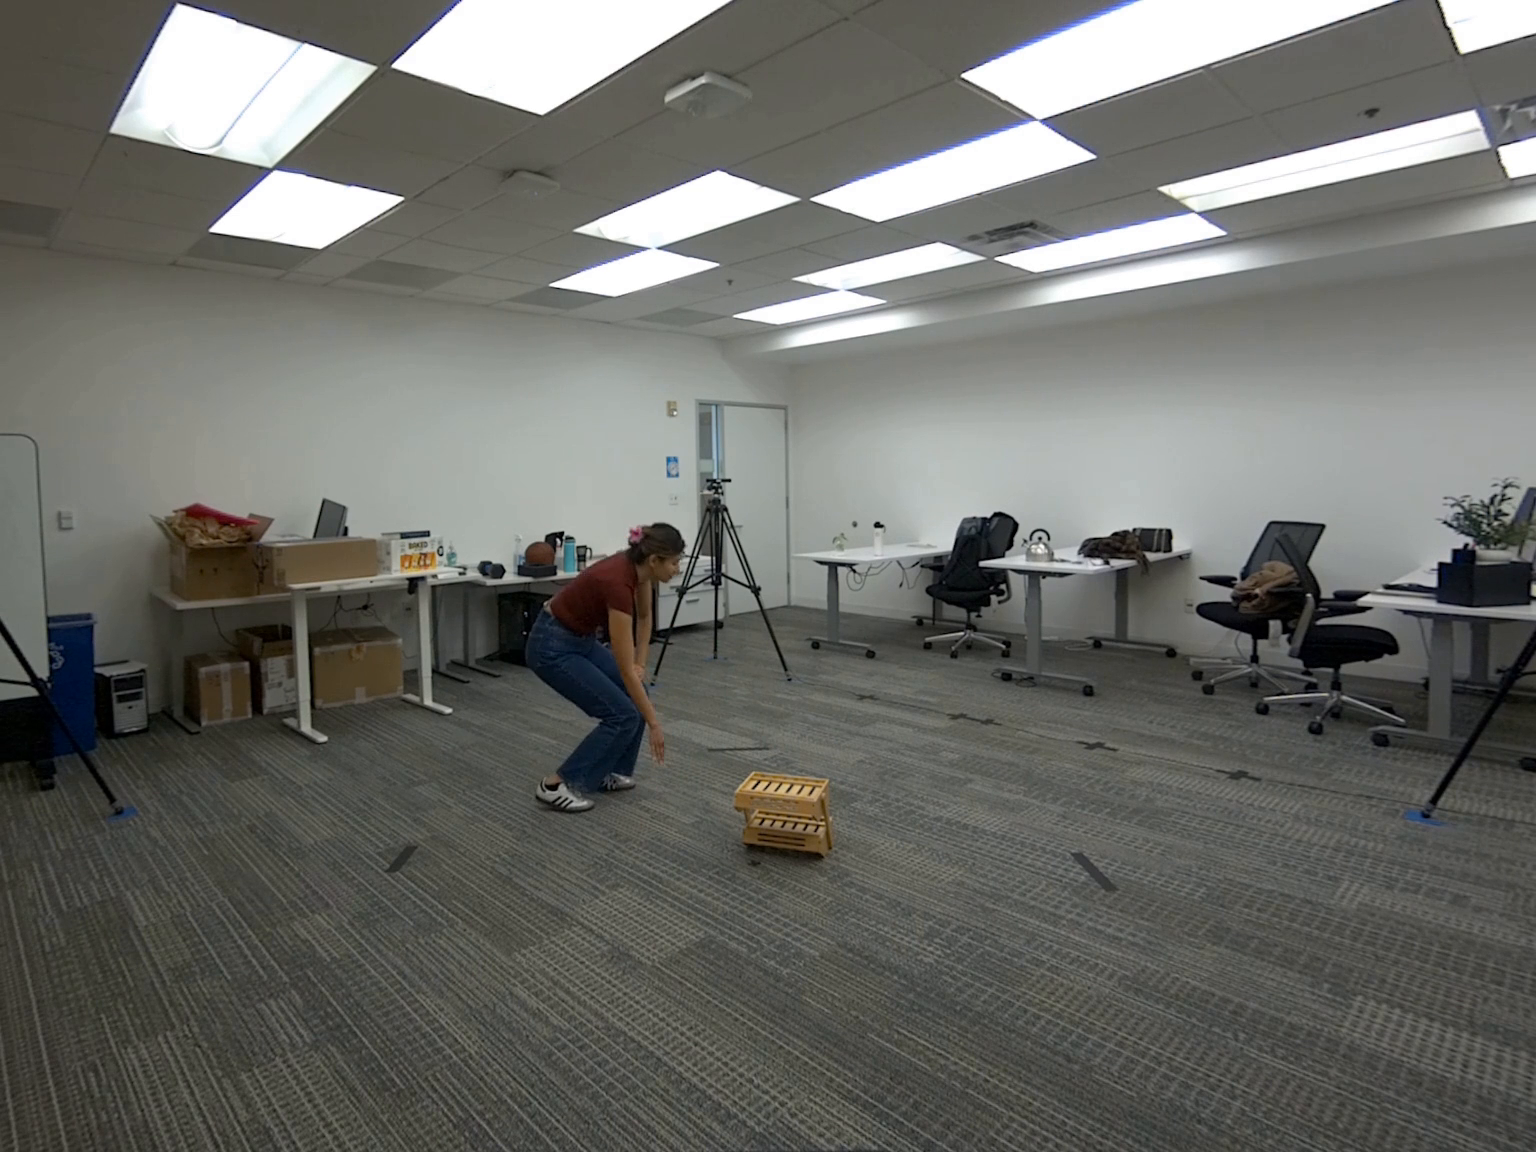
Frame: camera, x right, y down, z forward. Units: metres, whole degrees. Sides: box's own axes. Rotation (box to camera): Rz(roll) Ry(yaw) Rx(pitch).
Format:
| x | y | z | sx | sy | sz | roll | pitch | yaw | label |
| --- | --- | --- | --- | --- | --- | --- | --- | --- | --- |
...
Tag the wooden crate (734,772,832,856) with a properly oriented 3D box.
| x | y | z | sx | sy | sz | roll | pitch | yaw | label |
| --- | --- | --- | --- | --- | --- | --- | --- | --- | --- |
| 0.063 | 0.905 | 3.185 | 0.330 | 0.272 | 0.298 | 1 | 6 | 18 | wooden crate |
